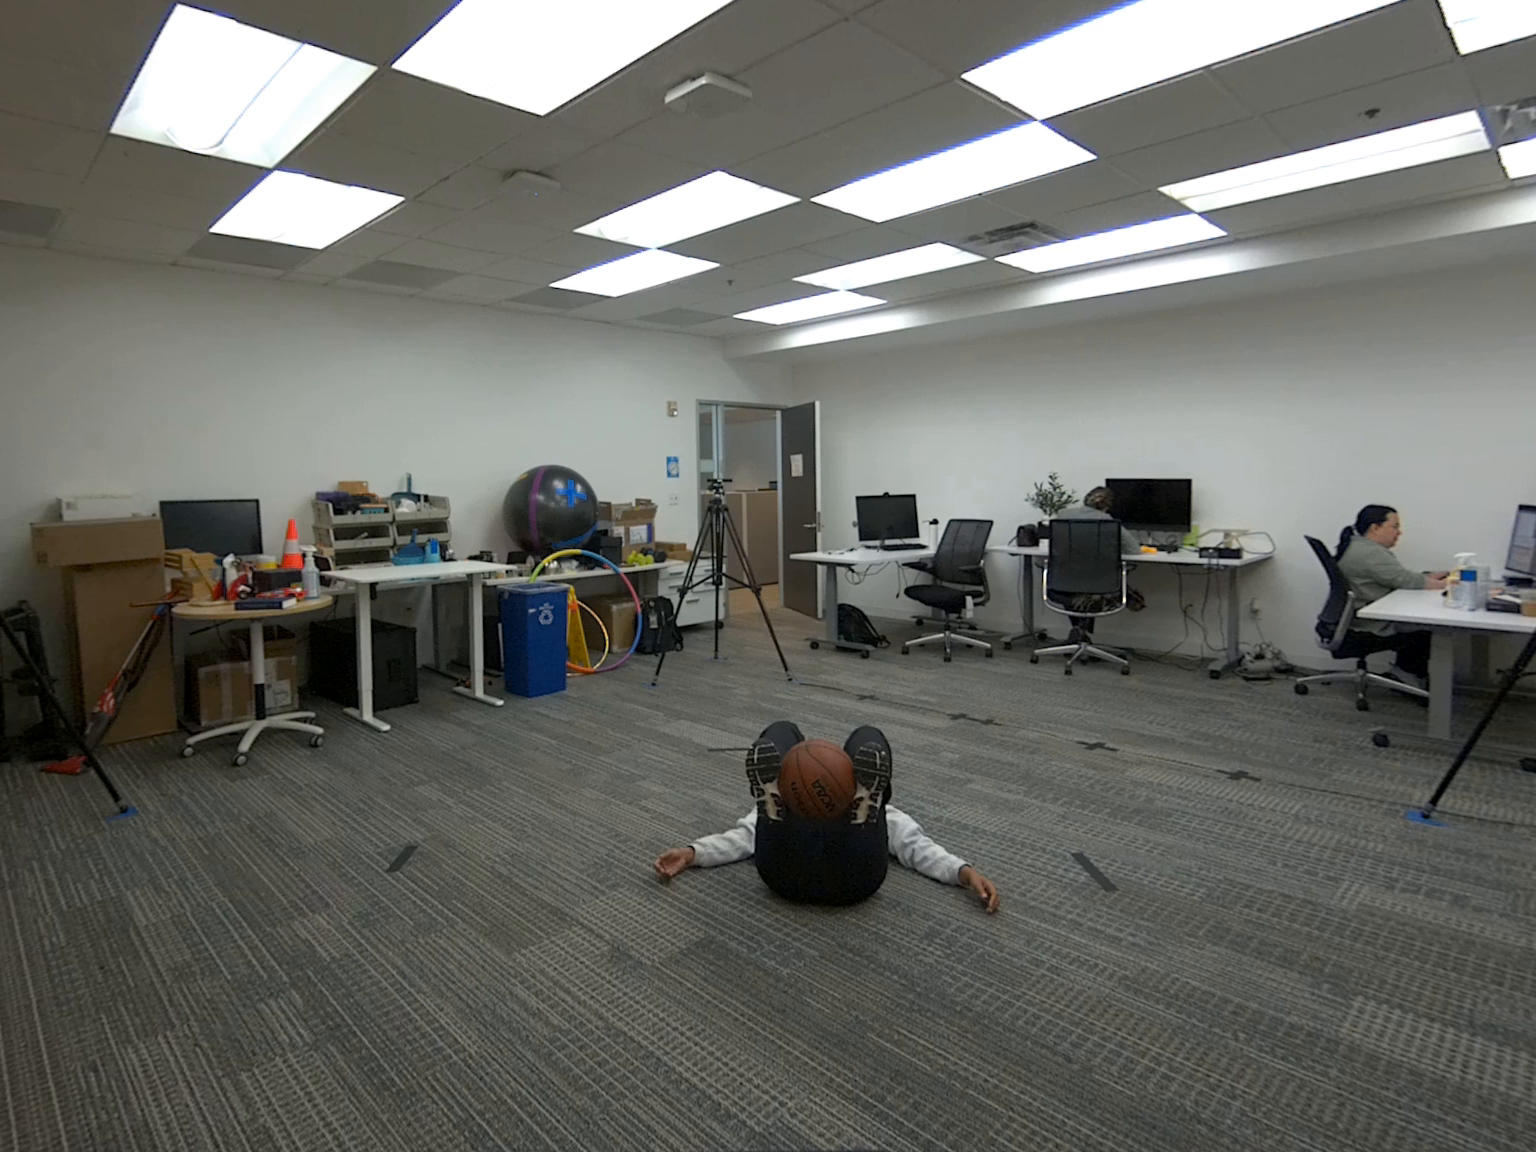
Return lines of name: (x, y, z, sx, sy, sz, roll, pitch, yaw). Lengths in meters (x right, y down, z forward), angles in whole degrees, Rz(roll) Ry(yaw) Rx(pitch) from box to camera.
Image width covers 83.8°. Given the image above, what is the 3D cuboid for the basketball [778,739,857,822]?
basketball: (0.159, 0.607, 2.591, 0.236, 0.235, 0.236, -4, 2, -2)
